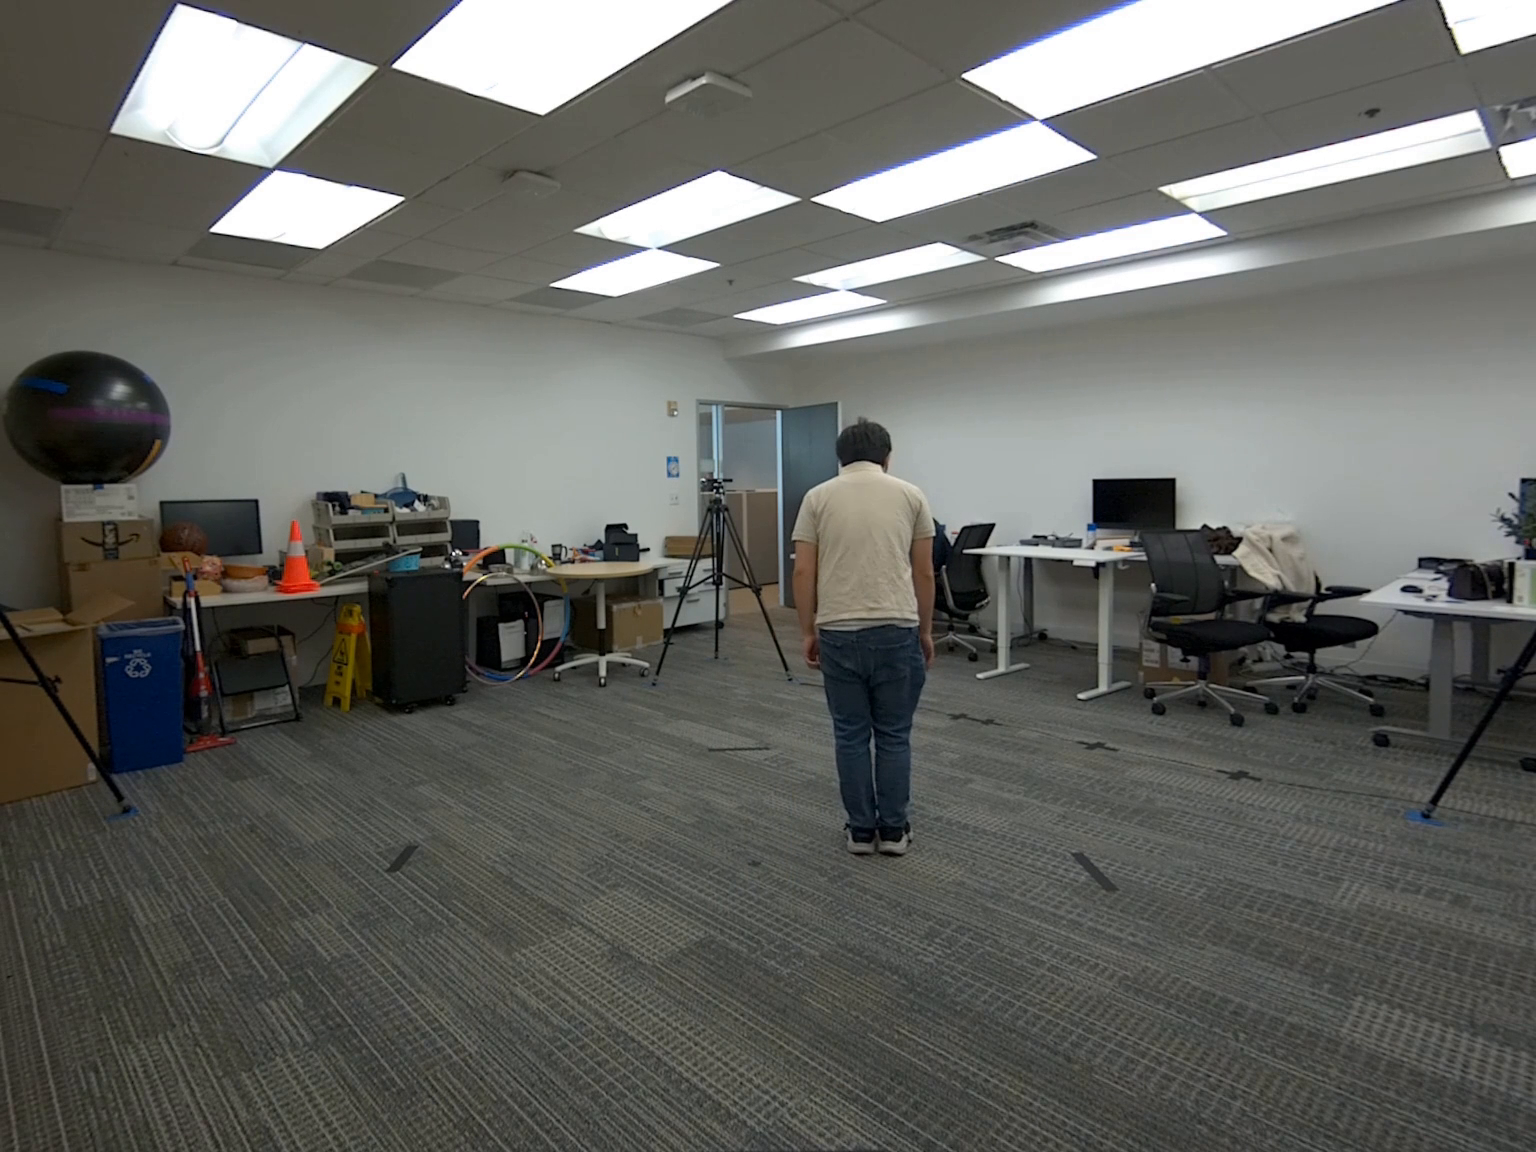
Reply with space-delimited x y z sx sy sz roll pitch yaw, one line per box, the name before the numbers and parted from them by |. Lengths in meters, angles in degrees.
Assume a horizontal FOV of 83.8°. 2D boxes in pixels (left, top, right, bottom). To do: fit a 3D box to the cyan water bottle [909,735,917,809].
cyan water bottle | 0.575 0.833 3.650 0.092 0.282 0.093 -1 4 -2
